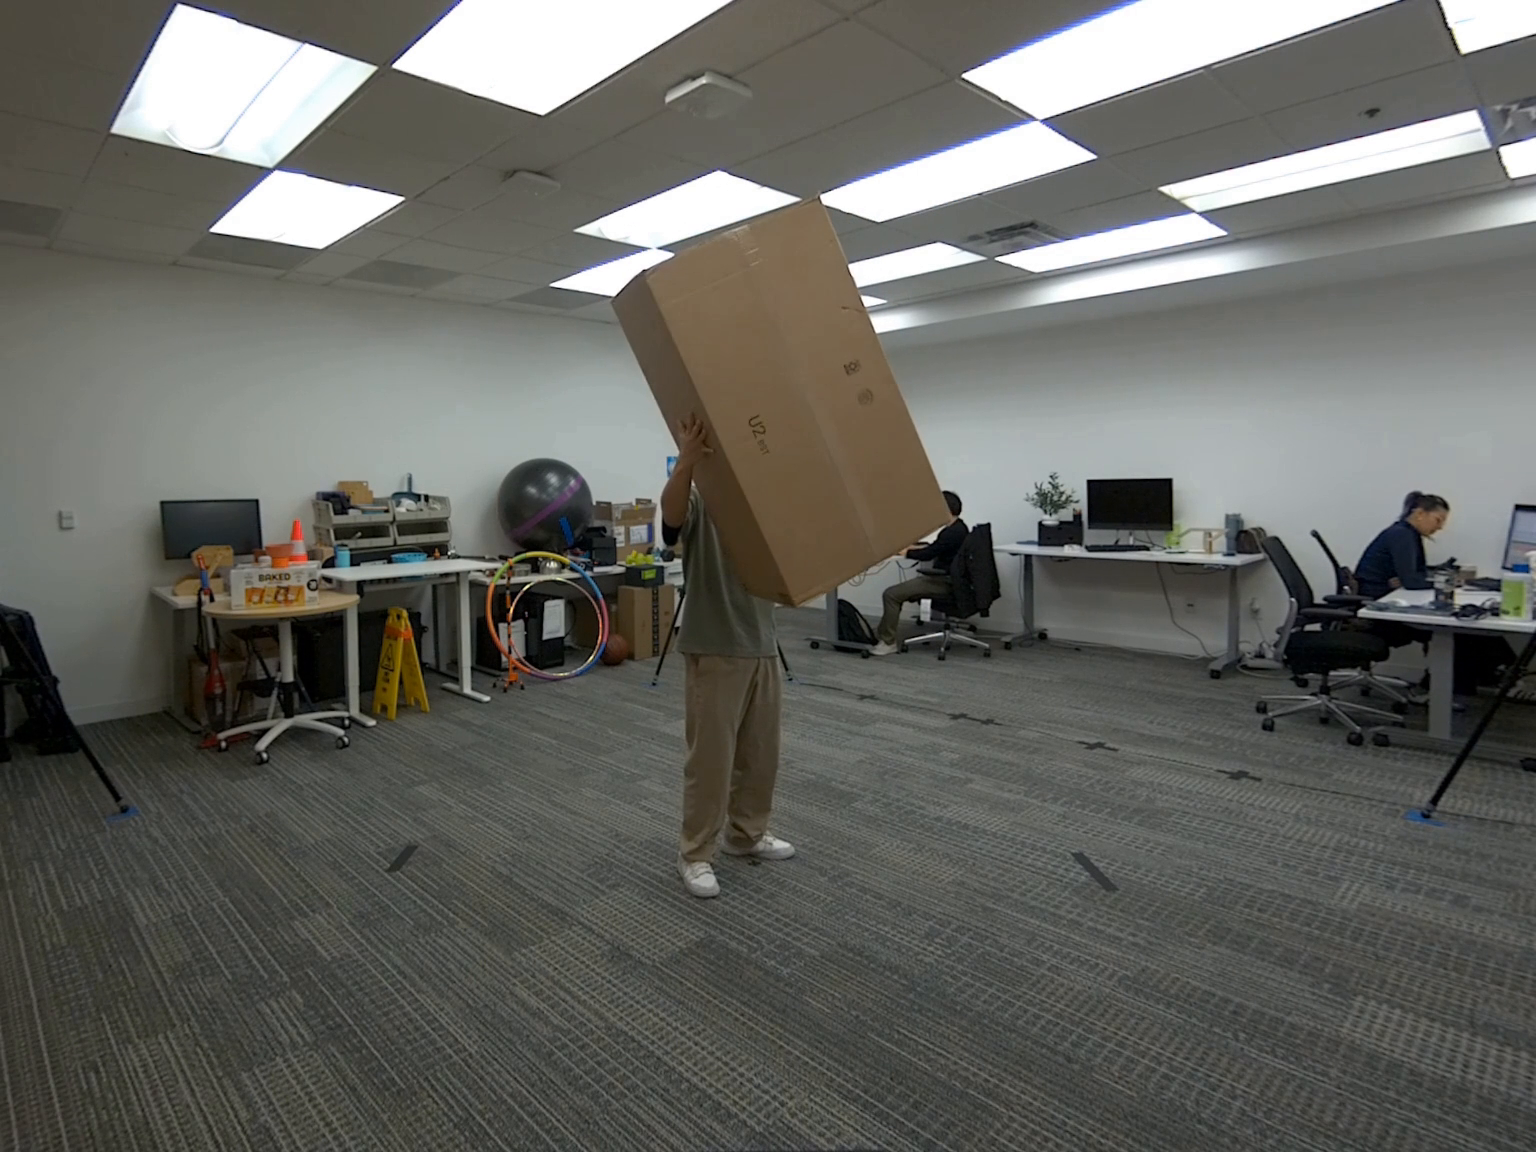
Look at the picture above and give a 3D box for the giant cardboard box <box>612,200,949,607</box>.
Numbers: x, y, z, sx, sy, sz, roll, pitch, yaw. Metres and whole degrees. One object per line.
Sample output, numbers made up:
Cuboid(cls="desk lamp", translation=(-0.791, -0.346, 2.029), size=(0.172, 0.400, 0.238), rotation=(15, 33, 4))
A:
Cuboid(cls="giant cardboard box", translation=(0.035, -0.505, 2.602), size=(0.573, 1.011, 0.435), rotation=(-29, 12, -17))
